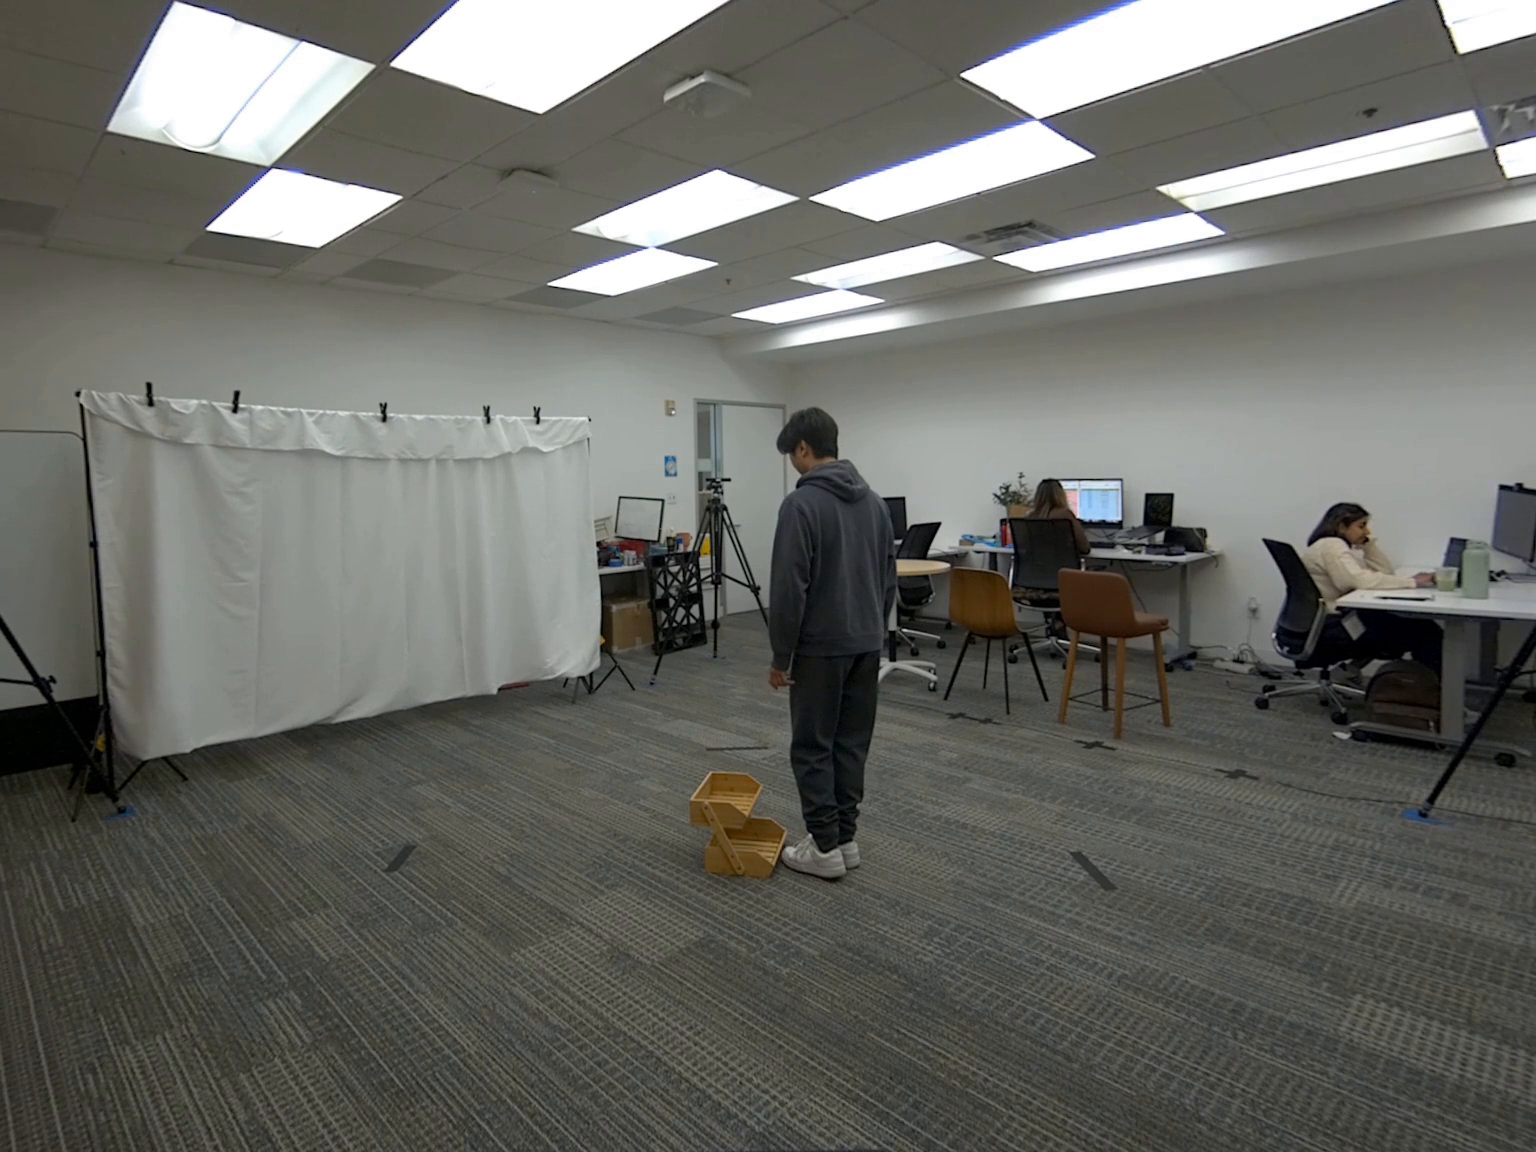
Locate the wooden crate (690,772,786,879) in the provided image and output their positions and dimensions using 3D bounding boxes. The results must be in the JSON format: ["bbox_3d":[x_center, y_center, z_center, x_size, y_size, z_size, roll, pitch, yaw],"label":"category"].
[{"bbox_3d":[-0.090,0.906,3.156,0.305,0.272,0.322,-1,5,11],"label":"wooden crate"}]
